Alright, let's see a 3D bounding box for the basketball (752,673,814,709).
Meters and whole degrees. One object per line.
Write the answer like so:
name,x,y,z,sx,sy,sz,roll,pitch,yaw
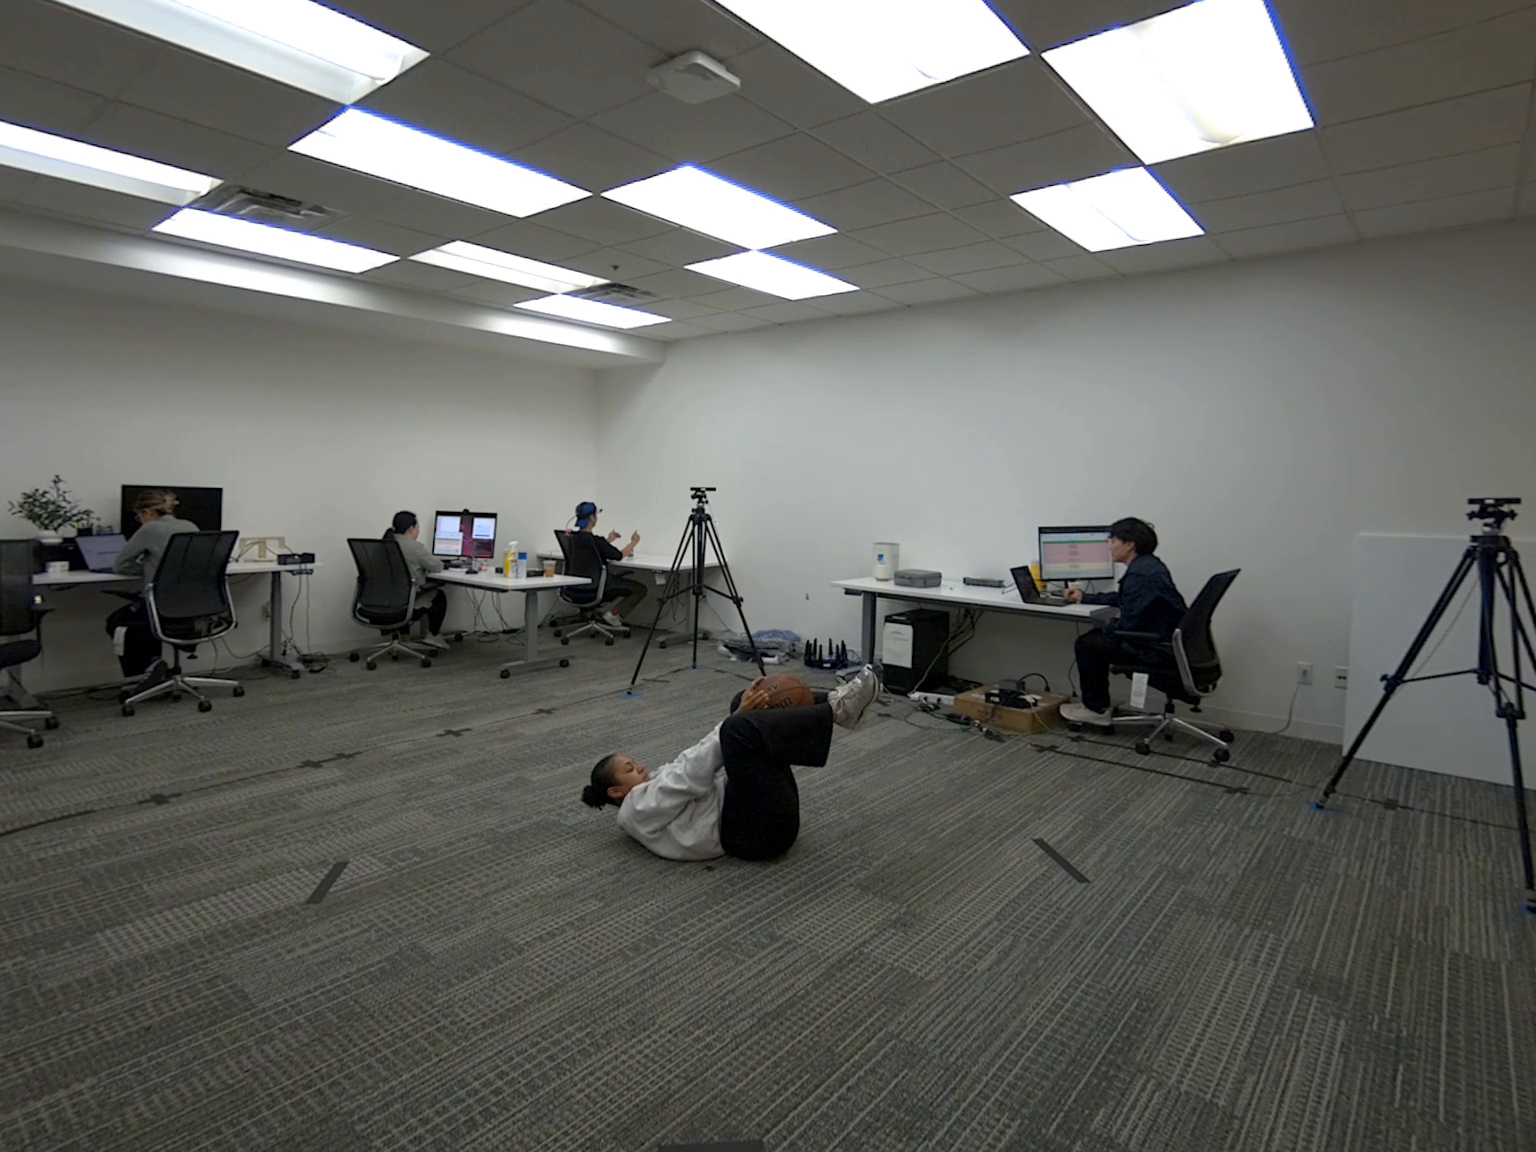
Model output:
basketball,0.048,0.499,3.305,0.236,0.235,0.237,0,4,-2
